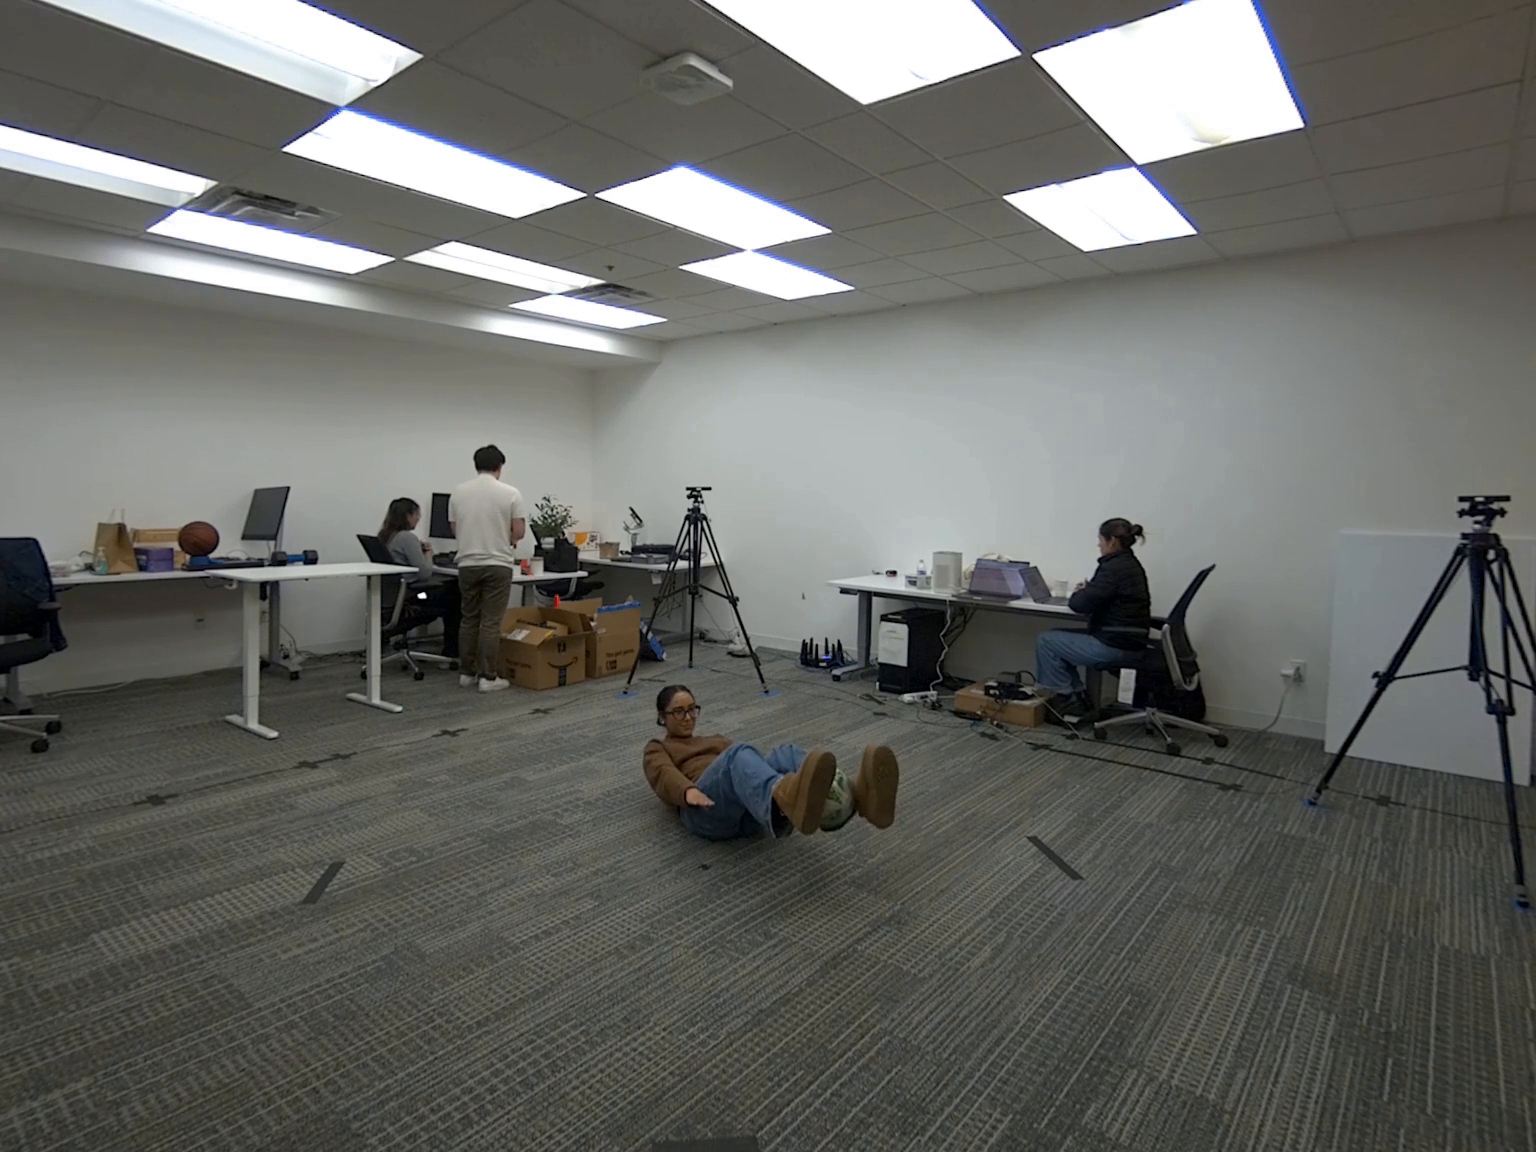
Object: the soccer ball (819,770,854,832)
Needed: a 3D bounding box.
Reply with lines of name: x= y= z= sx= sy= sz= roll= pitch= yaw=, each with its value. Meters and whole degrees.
soccer ball: x=0.182 y=0.727 z=2.865 sx=0.187 sy=0.187 sz=0.188 roll=1 pitch=4 yaw=-2
